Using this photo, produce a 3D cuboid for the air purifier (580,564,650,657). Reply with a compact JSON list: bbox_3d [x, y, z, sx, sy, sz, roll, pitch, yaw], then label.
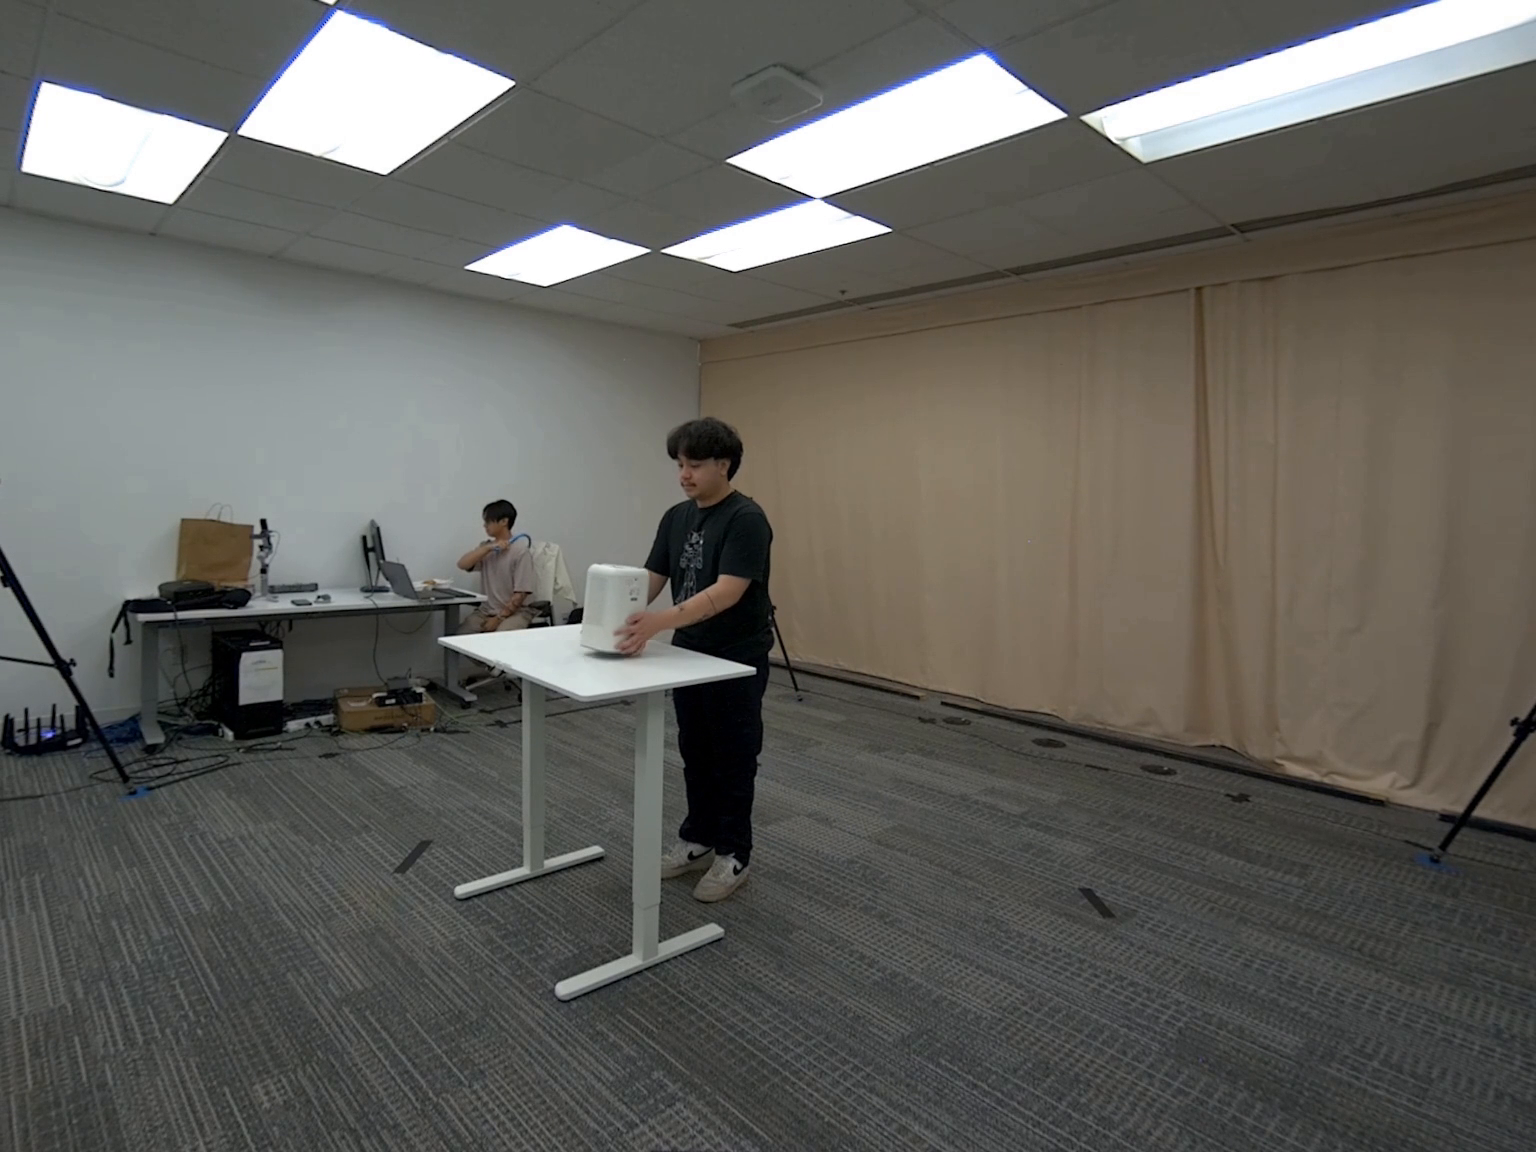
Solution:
[{"bbox_3d":[-0.498,0.103,2.682,0.176,0.265,0.167,6,2,40],"label":"air purifier"}]
